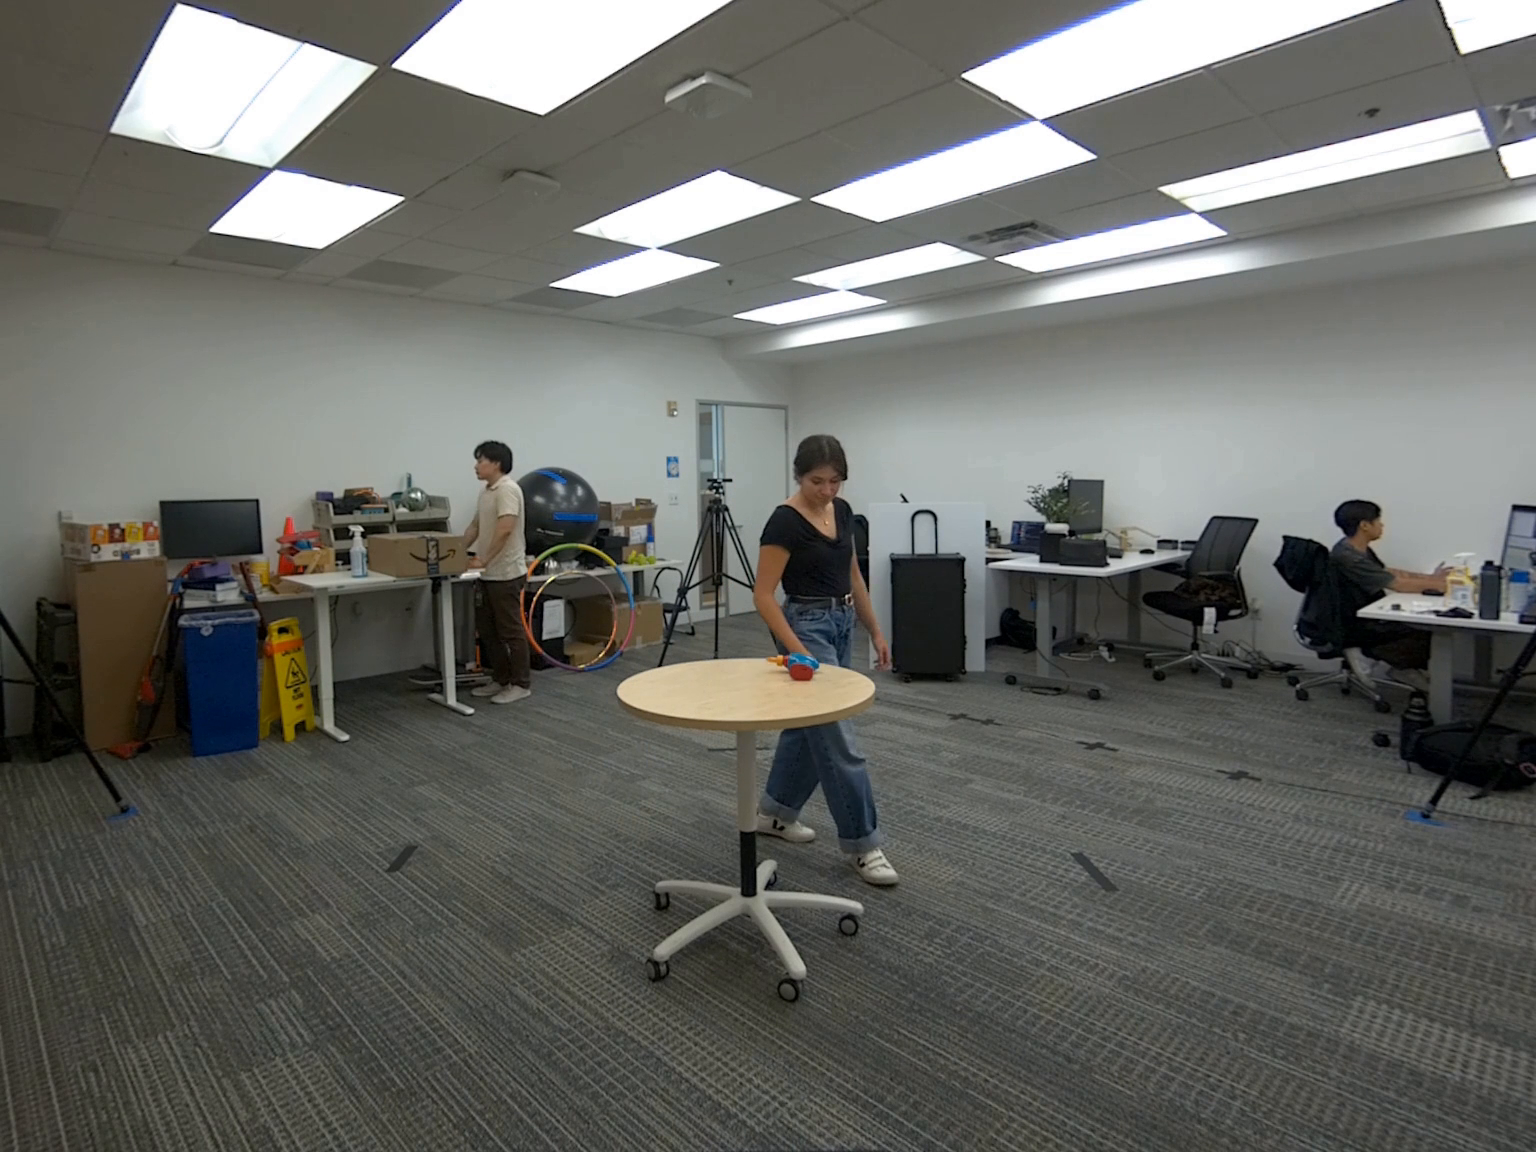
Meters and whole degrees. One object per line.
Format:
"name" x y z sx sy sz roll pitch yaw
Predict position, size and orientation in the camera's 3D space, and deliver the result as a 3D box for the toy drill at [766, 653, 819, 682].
"toy drill" 0.069 0.282 2.675 0.172 0.061 0.145 8 9 9
